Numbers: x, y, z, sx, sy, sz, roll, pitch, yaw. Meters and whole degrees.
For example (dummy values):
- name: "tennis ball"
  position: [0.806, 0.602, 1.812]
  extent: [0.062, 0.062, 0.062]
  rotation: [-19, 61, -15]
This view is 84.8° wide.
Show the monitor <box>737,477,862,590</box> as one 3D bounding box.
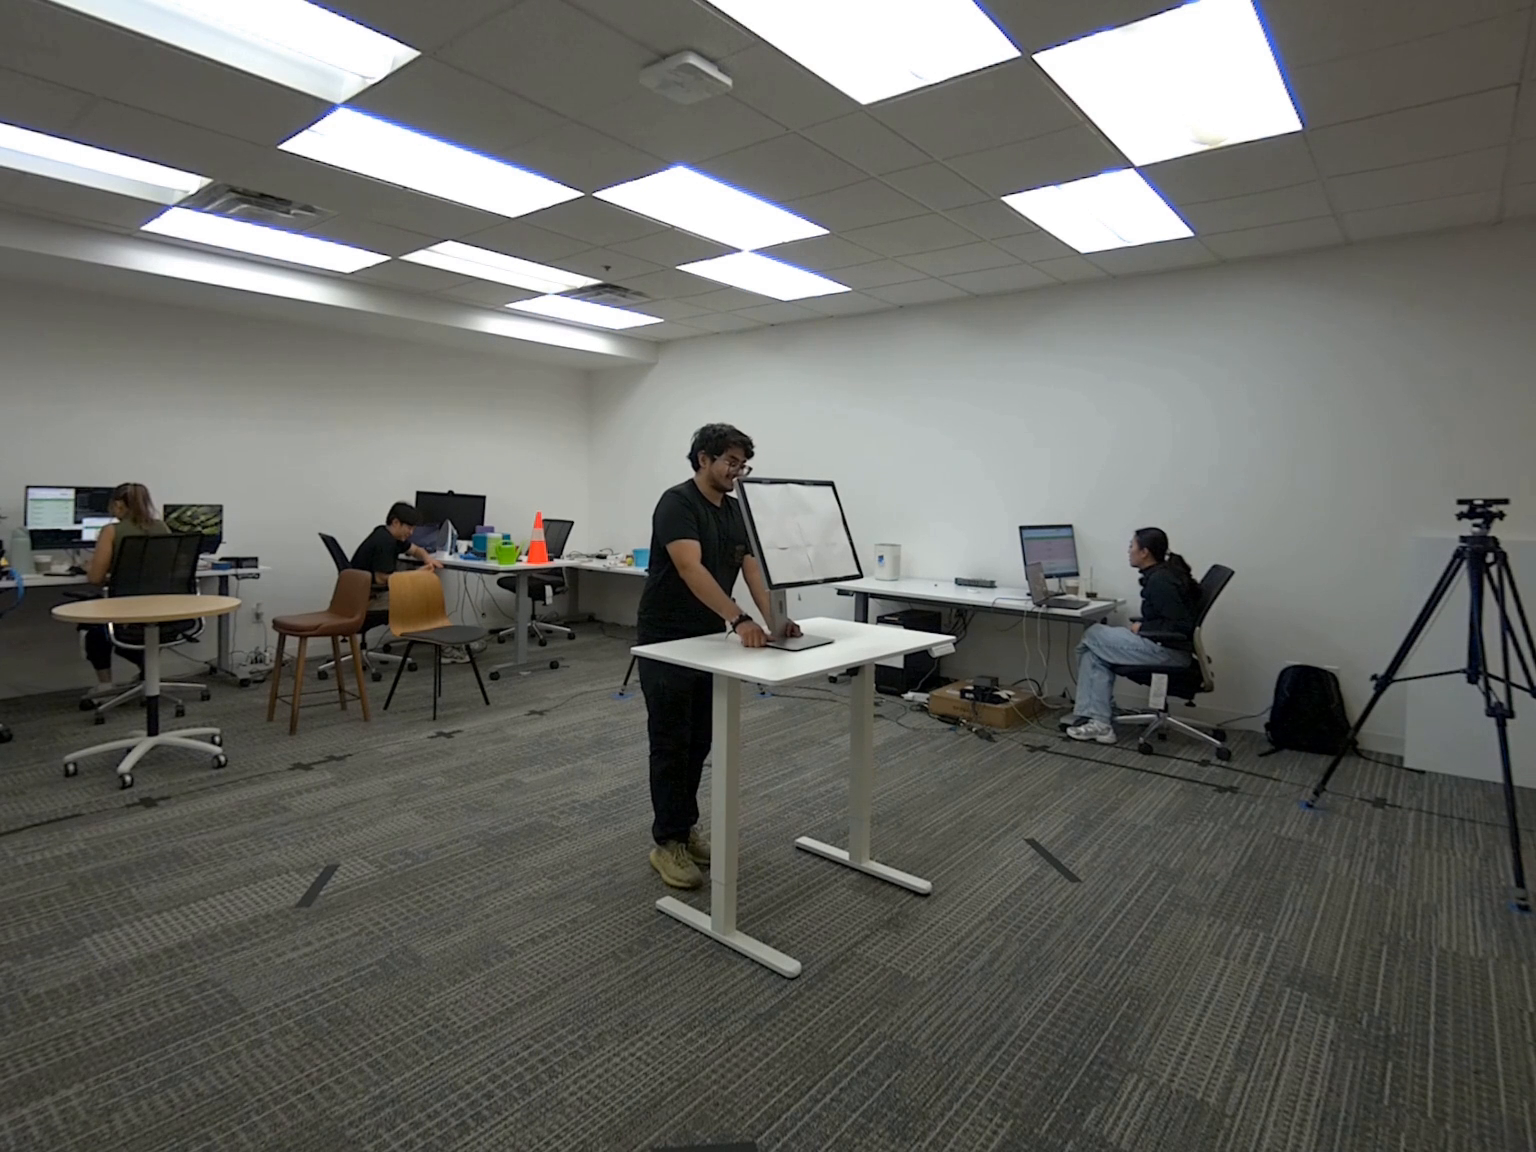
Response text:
- name: "monitor"
  position: [0.059, -0.049, 2.826]
  extent: [0.215, 0.557, 0.549]
  rotation: [-12, -5, 37]
